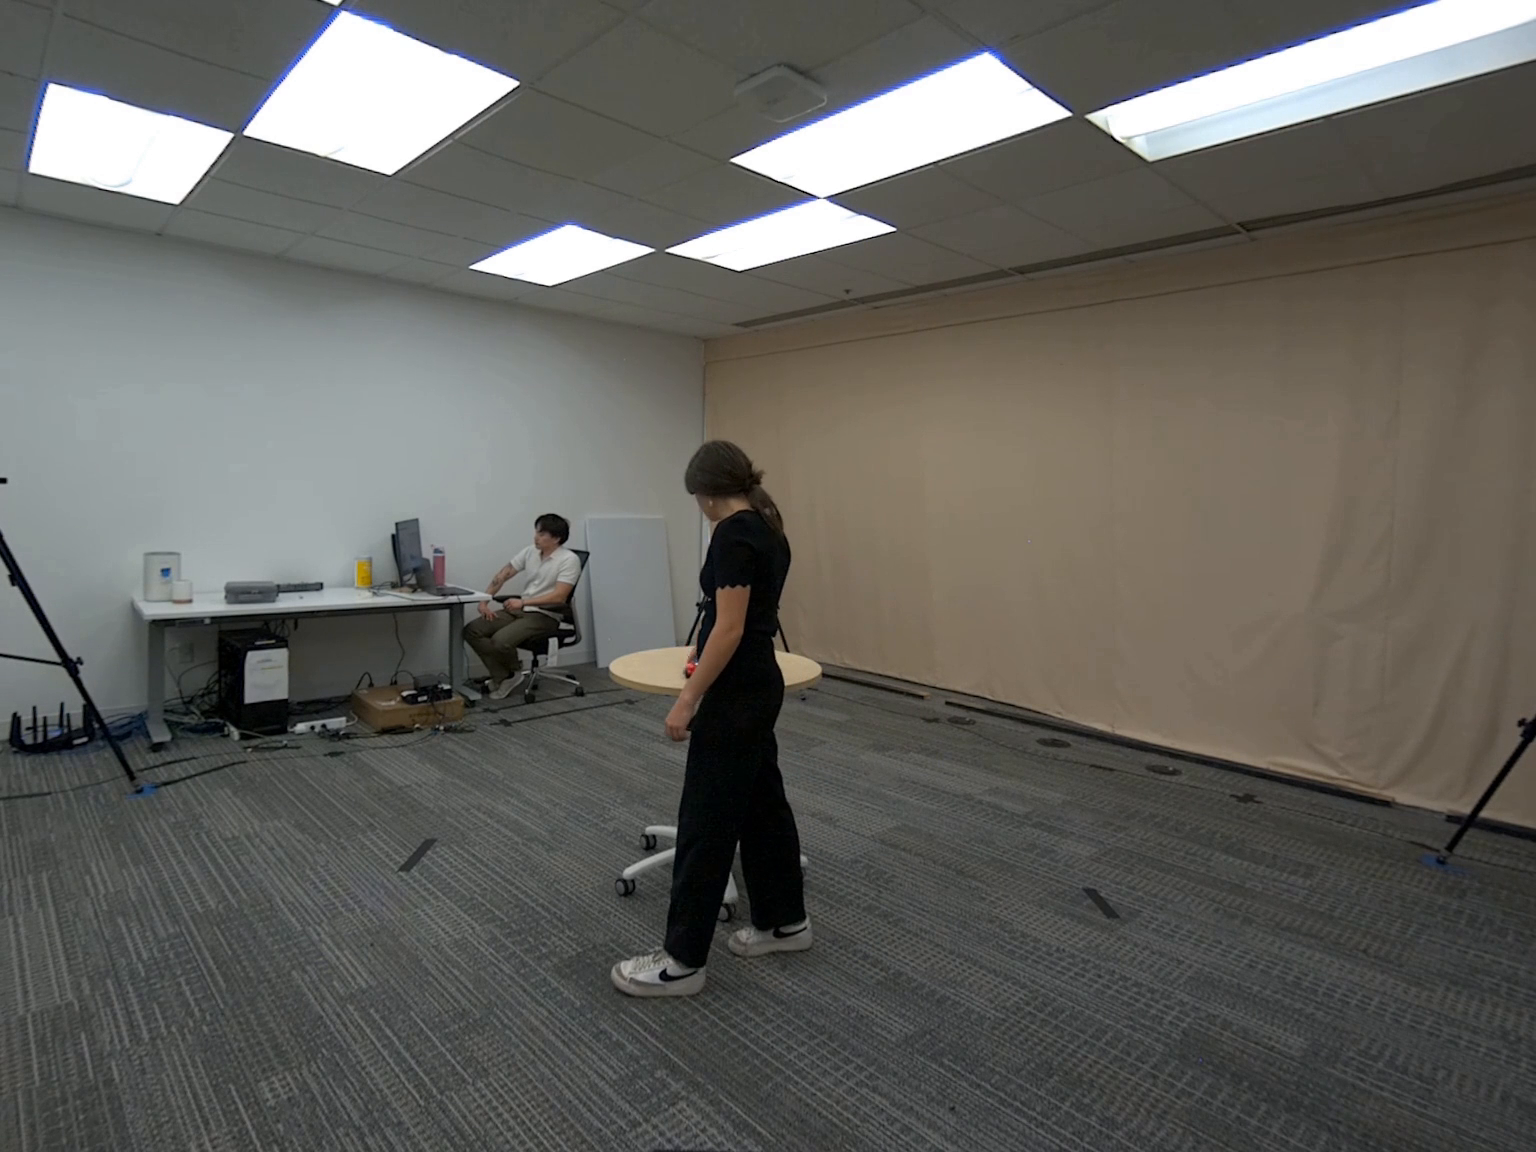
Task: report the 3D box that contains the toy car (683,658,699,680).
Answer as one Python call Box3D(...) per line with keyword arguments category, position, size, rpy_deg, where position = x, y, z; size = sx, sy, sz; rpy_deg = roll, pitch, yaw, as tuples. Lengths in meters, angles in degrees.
Box3D(category="toy car", position=(-0.223, 0.306, 2.931), size=(0.130, 0.082, 0.257), rpy_deg=(0, 16, 1))
